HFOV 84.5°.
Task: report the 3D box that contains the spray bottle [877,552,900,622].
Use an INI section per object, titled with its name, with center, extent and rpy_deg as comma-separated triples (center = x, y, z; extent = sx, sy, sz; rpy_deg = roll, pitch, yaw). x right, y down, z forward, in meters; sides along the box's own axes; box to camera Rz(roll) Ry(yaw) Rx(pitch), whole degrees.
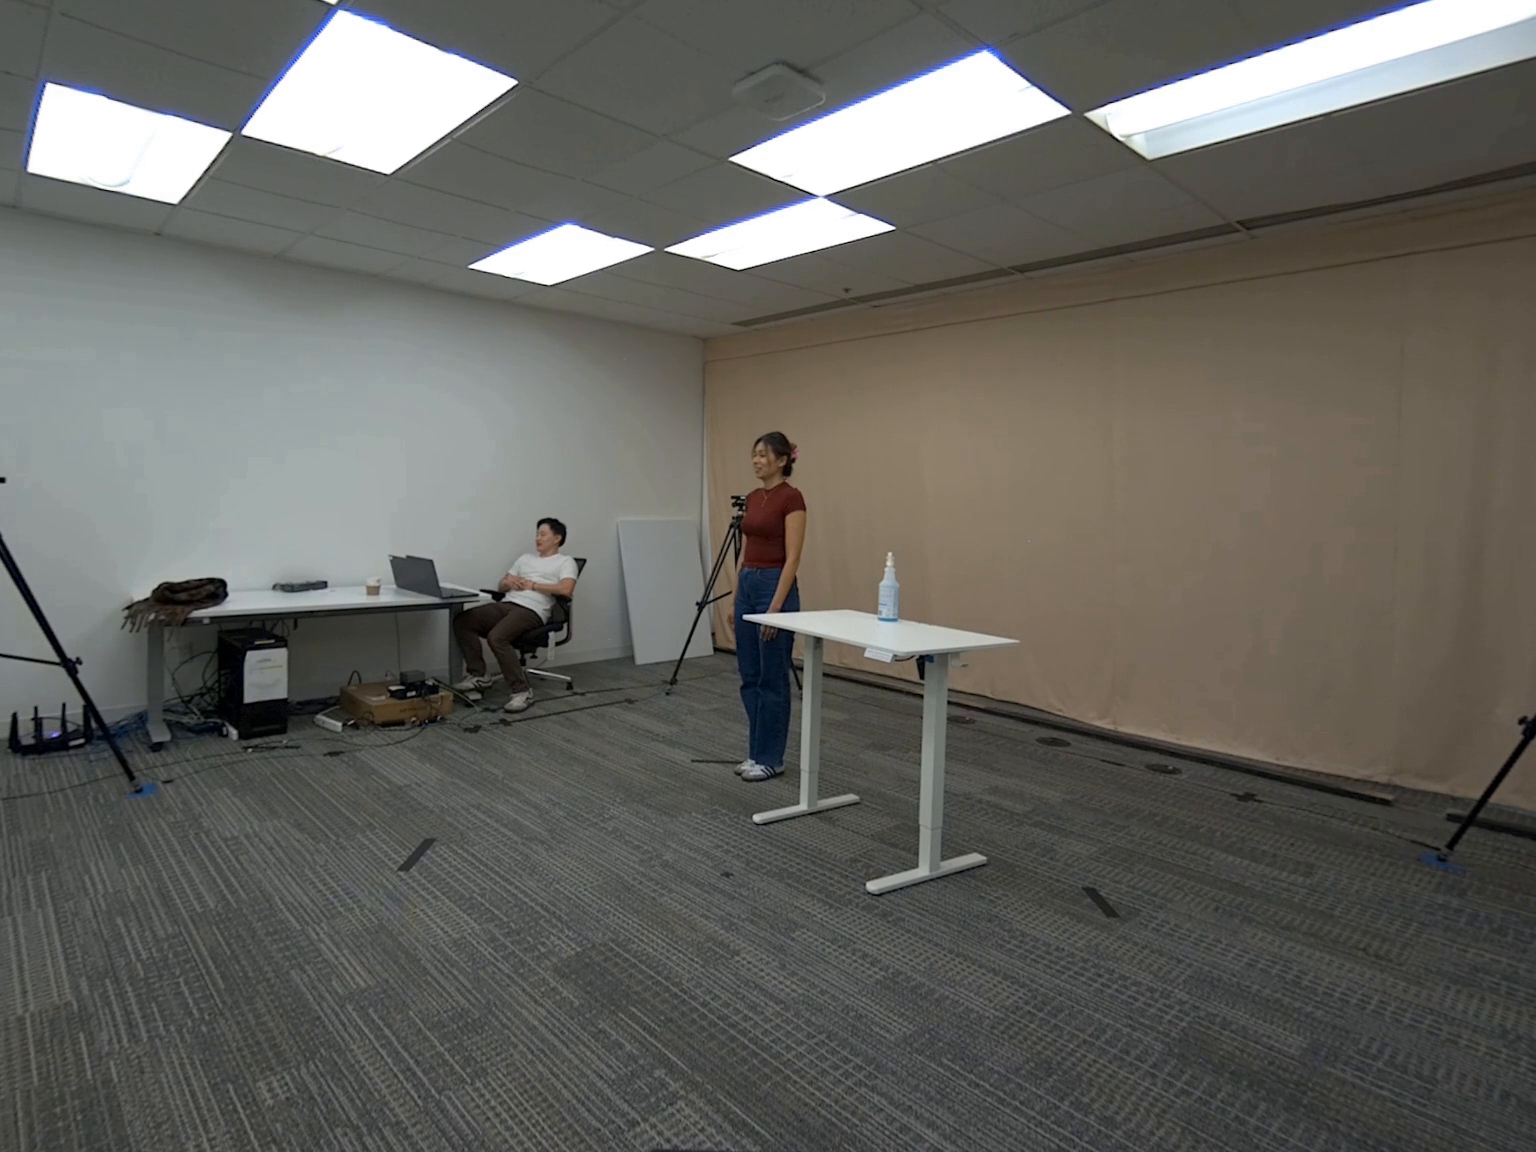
[spray bottle]
center = 0.519, 0.048, 3.636
extent = 0.089, 0.296, 0.088
rpy_deg = 3, 4, 37
